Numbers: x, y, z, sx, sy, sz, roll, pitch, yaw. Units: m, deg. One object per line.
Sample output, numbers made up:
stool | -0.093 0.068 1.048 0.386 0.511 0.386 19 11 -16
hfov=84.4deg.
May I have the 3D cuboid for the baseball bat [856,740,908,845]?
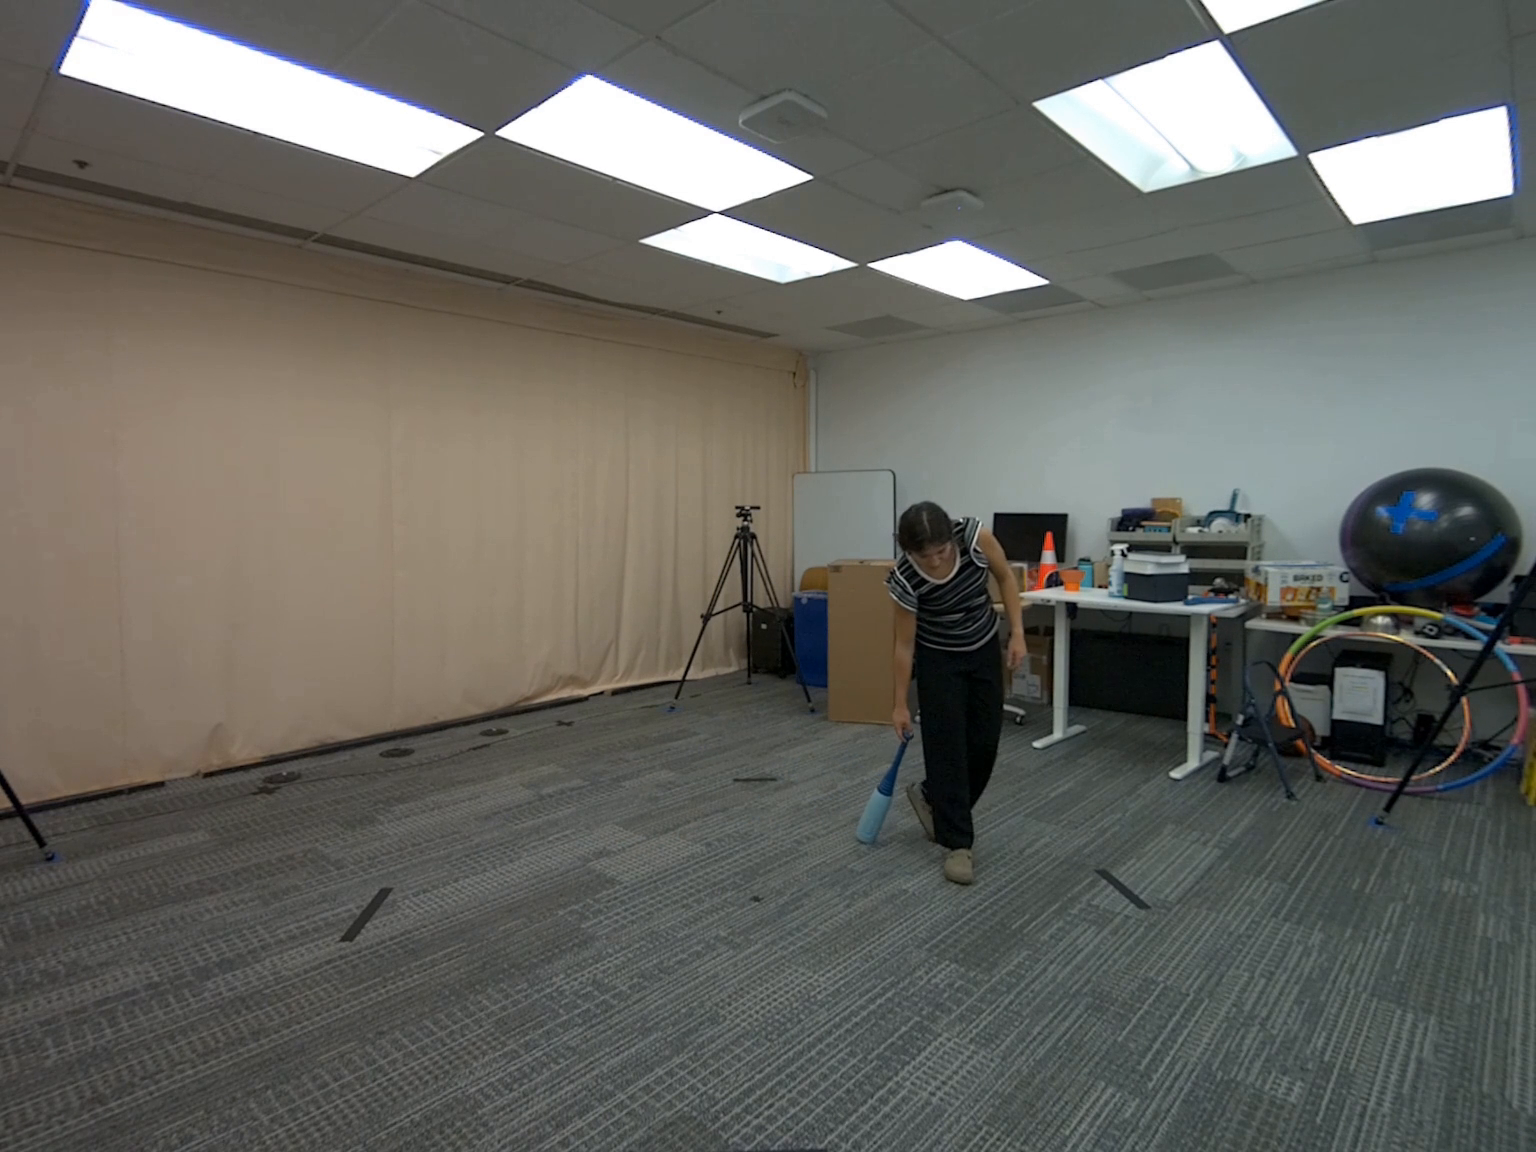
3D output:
baseball bat | 0.482 0.858 3.411 0.088 0.540 0.090 15 22 -8
